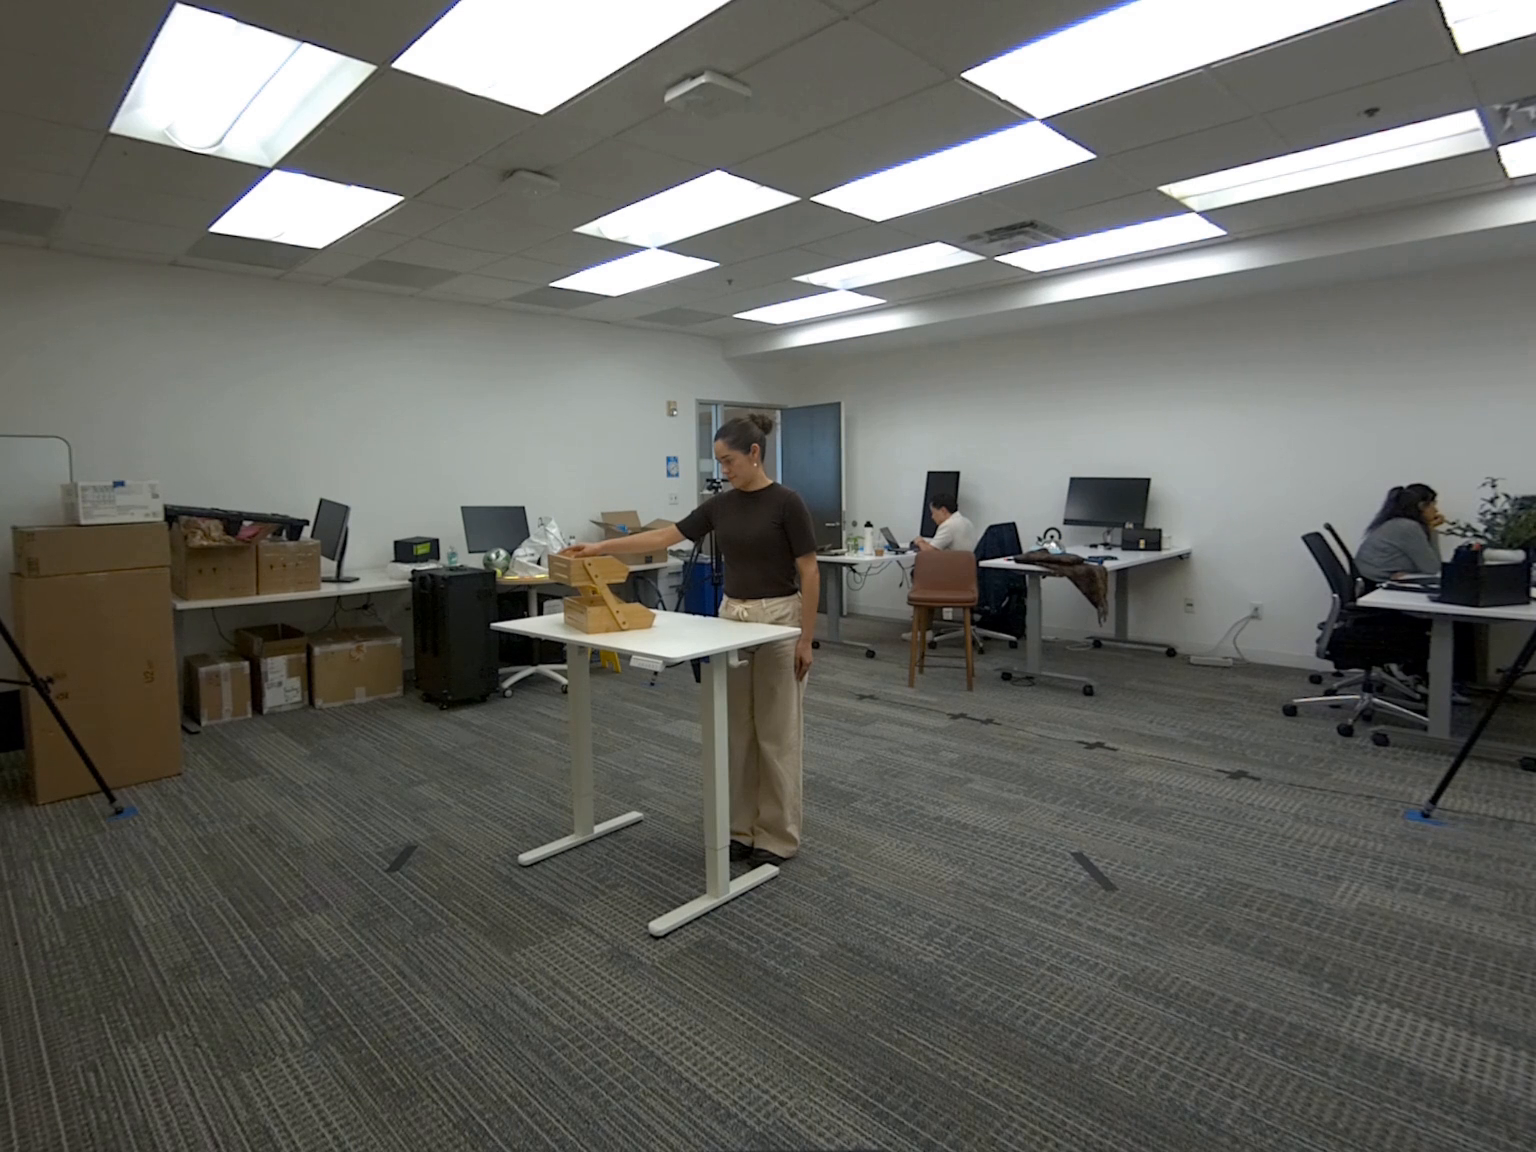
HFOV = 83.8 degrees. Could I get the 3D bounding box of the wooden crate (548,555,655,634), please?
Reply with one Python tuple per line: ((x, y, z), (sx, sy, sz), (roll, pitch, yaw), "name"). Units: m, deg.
((-0.597, 0.047, 3.054), (0.295, 0.272, 0.333), (-5, 6, -27), "wooden crate")
